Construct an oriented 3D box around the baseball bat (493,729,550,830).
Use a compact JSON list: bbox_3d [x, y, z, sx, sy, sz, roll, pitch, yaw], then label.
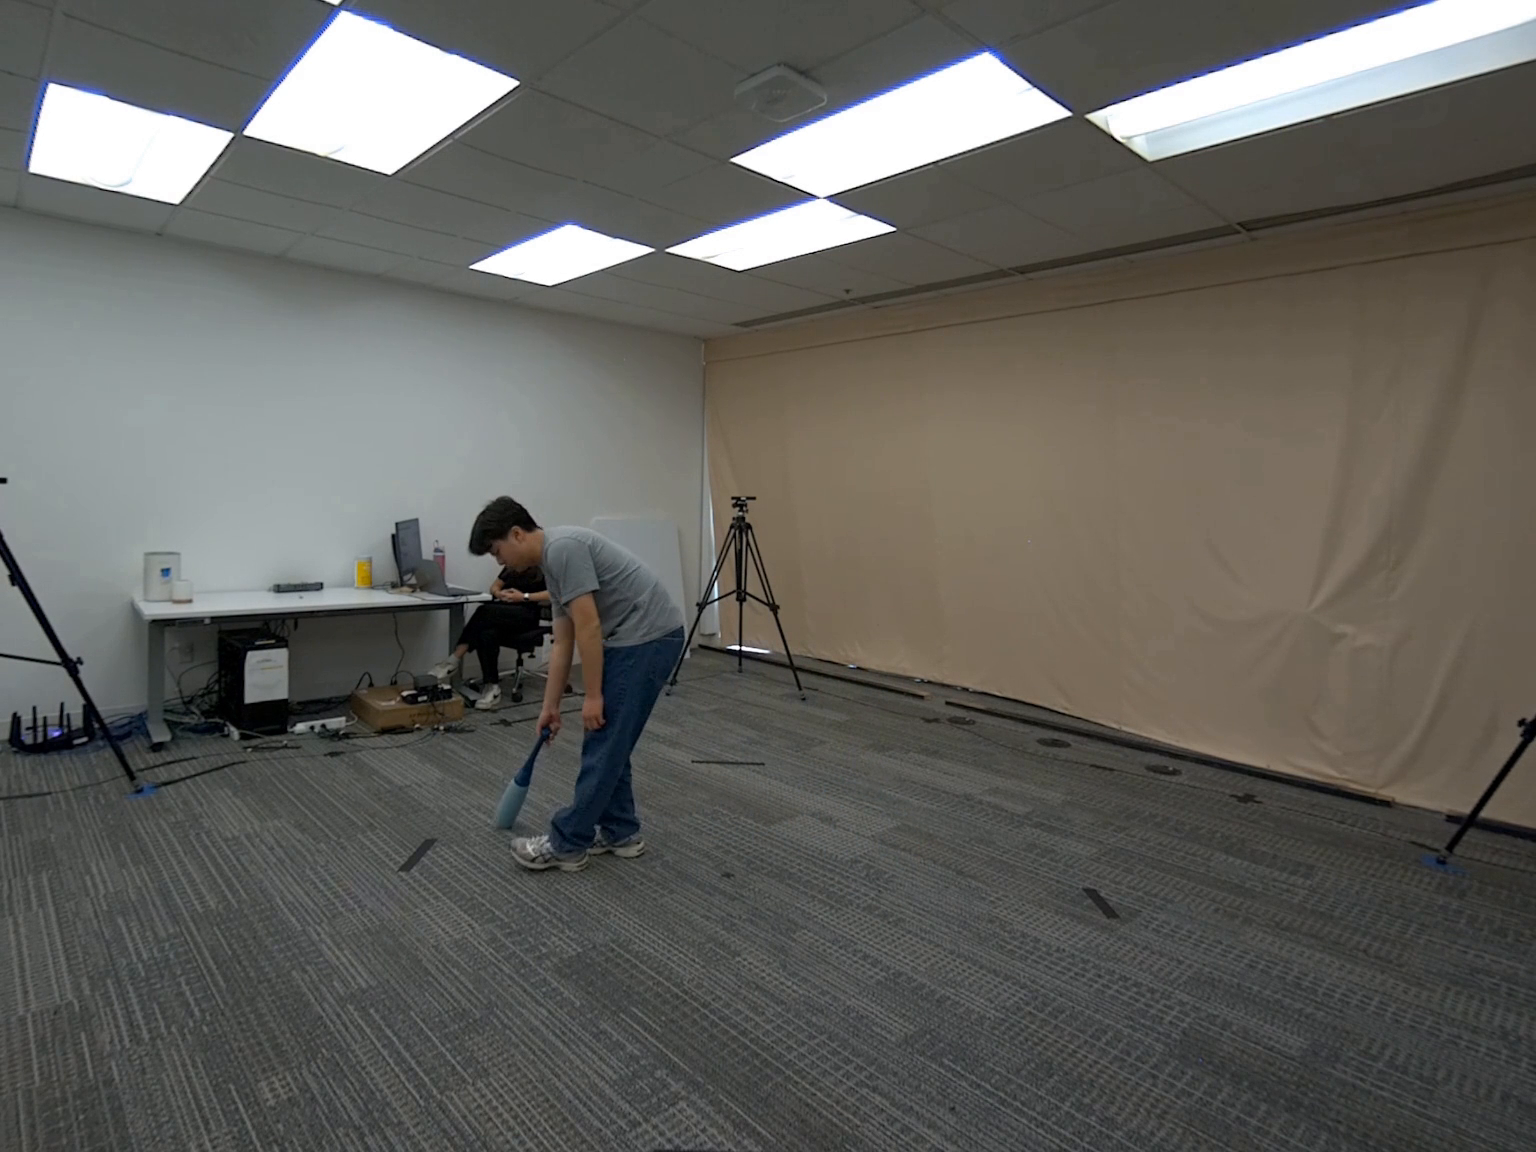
[{"bbox_3d":[-0.982,0.821,3.400,0.088,0.539,0.091,22,27,-14],"label":"baseball bat"}]
